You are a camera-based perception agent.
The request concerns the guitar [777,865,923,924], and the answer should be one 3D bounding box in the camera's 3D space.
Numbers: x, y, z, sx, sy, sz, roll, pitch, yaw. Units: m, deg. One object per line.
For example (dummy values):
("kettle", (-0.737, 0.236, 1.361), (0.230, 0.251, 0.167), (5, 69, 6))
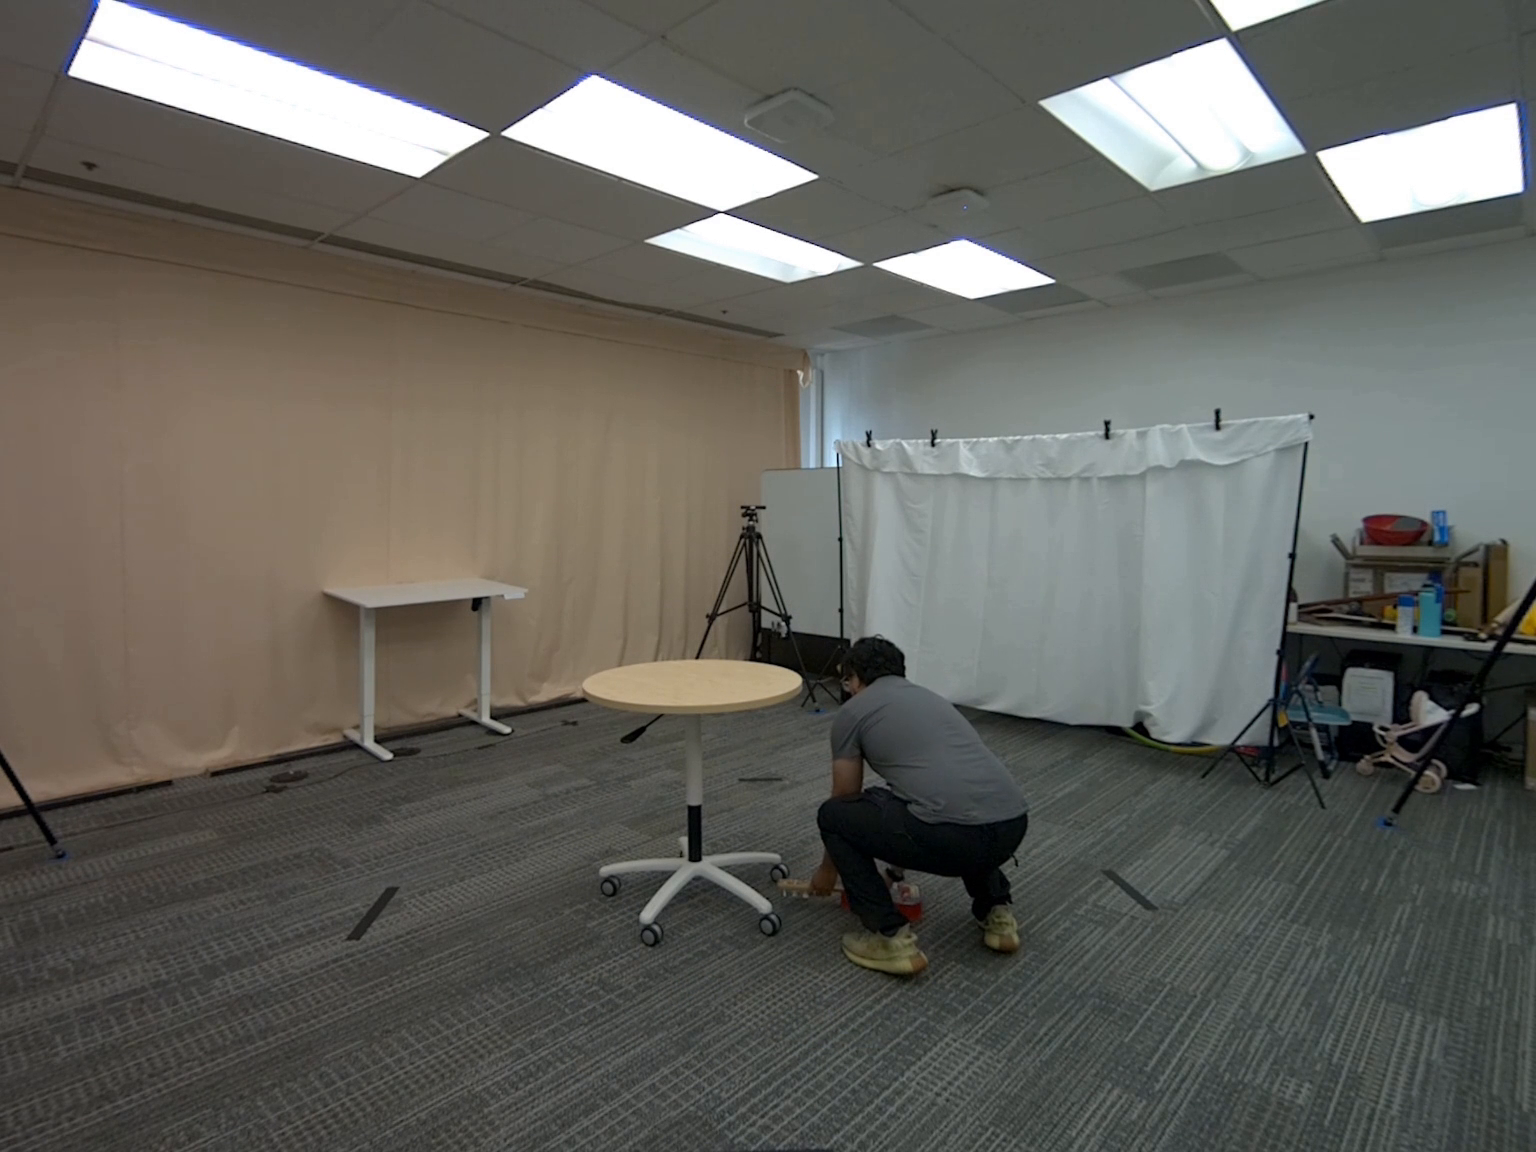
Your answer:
("guitar", (0.288, 1.100, 2.958), (0.507, 0.070, 0.190), (2, 6, 17))
